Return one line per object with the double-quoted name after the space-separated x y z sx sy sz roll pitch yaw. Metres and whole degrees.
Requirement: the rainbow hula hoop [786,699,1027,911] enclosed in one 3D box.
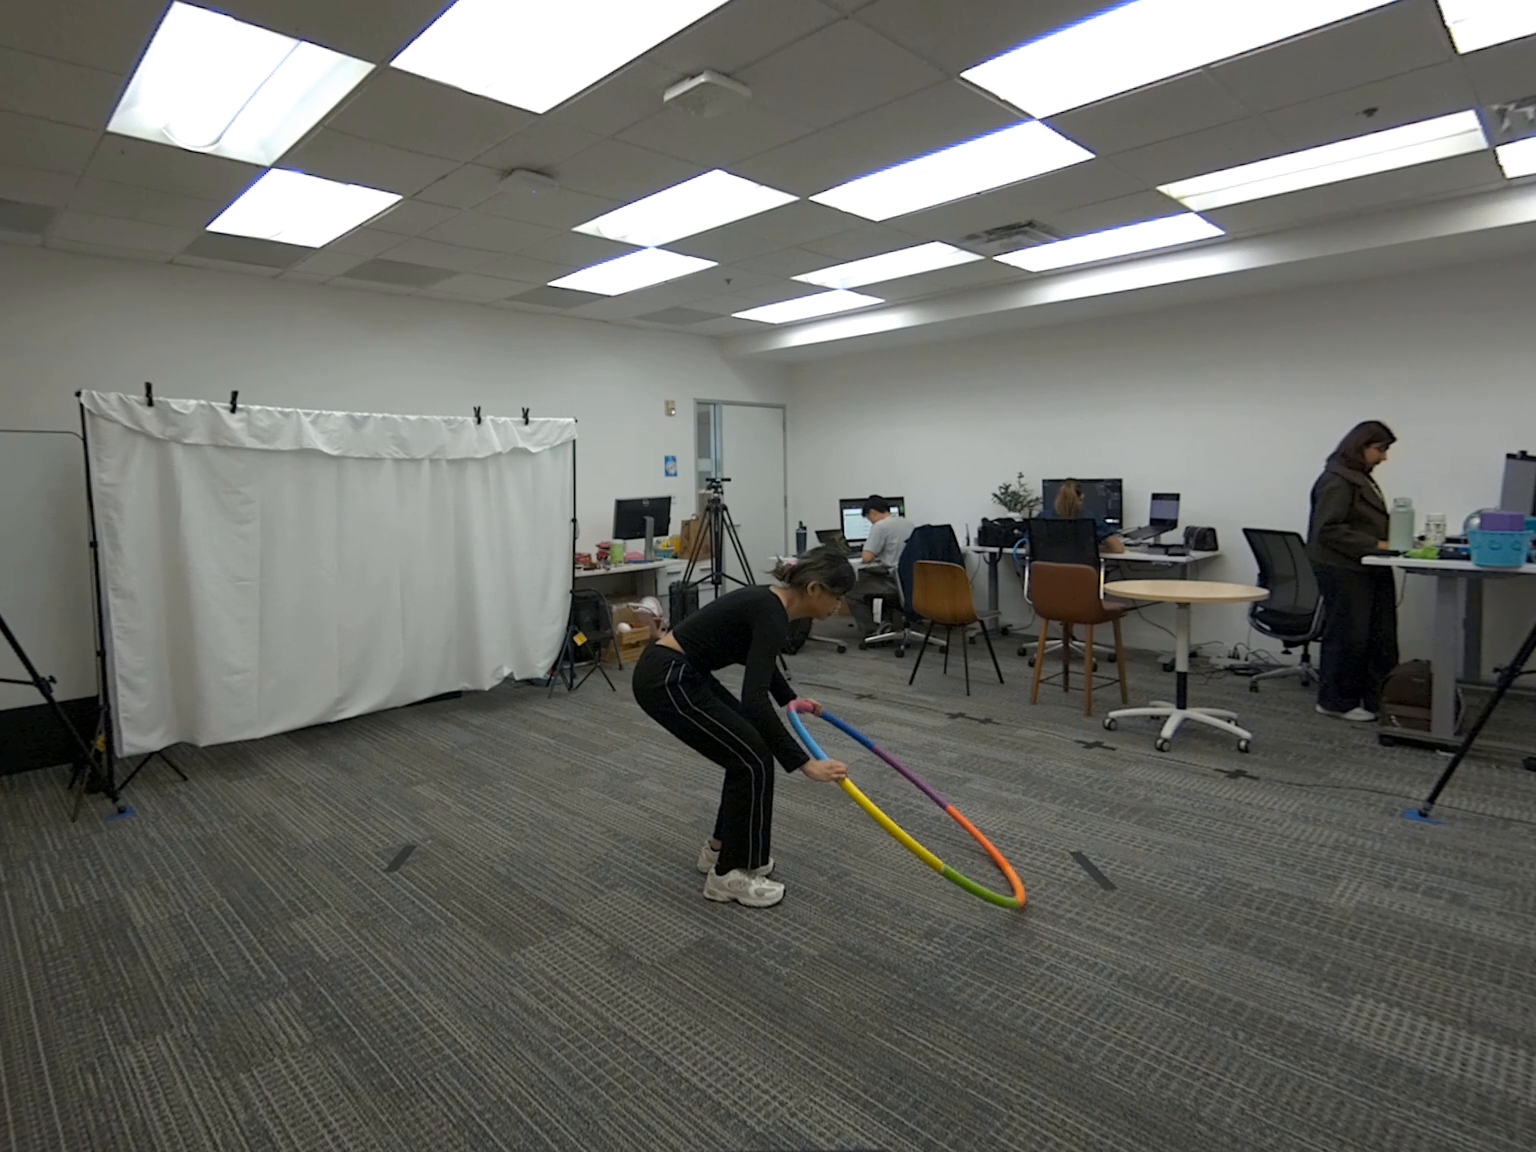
0.467 0.747 2.935 0.974 0.035 0.985 36 4 -5 "rainbow hula hoop"
